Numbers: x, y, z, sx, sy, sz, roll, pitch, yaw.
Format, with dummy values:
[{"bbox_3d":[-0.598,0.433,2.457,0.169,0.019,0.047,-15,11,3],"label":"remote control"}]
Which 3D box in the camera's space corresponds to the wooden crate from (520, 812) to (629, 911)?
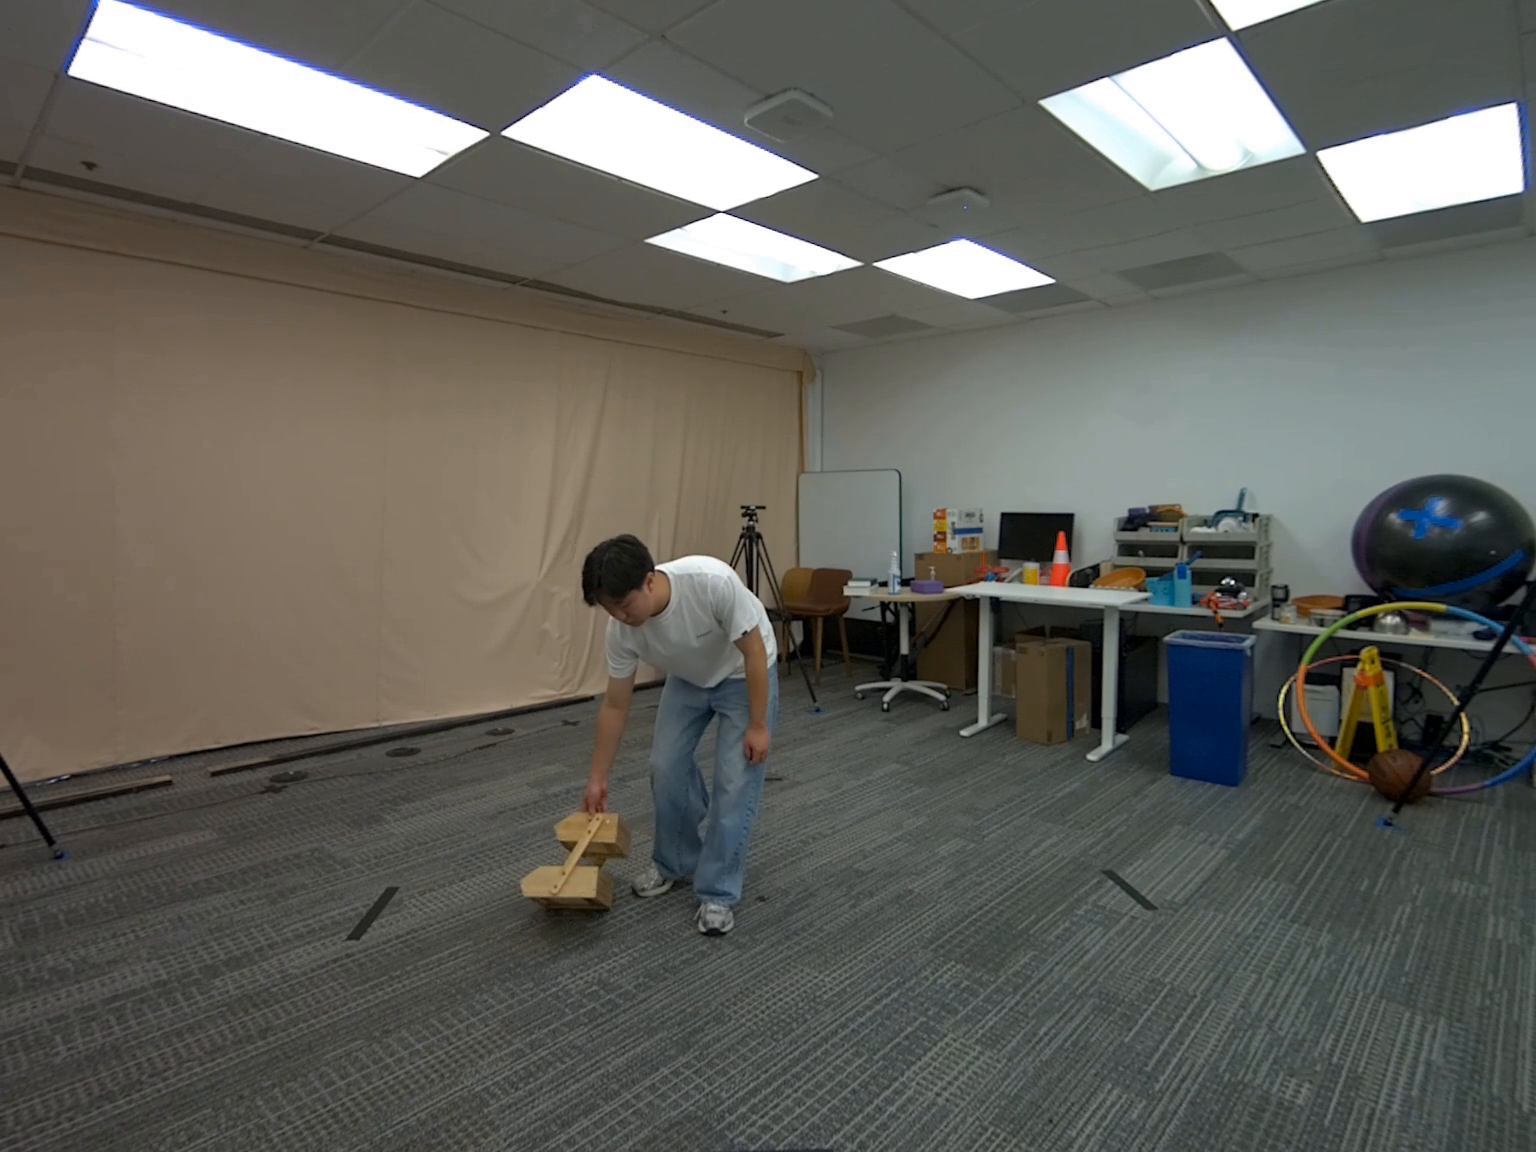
[{"bbox_3d":[-0.638,0.967,2.855,0.303,0.277,0.318,1,-29,2],"label":"wooden crate"}]
